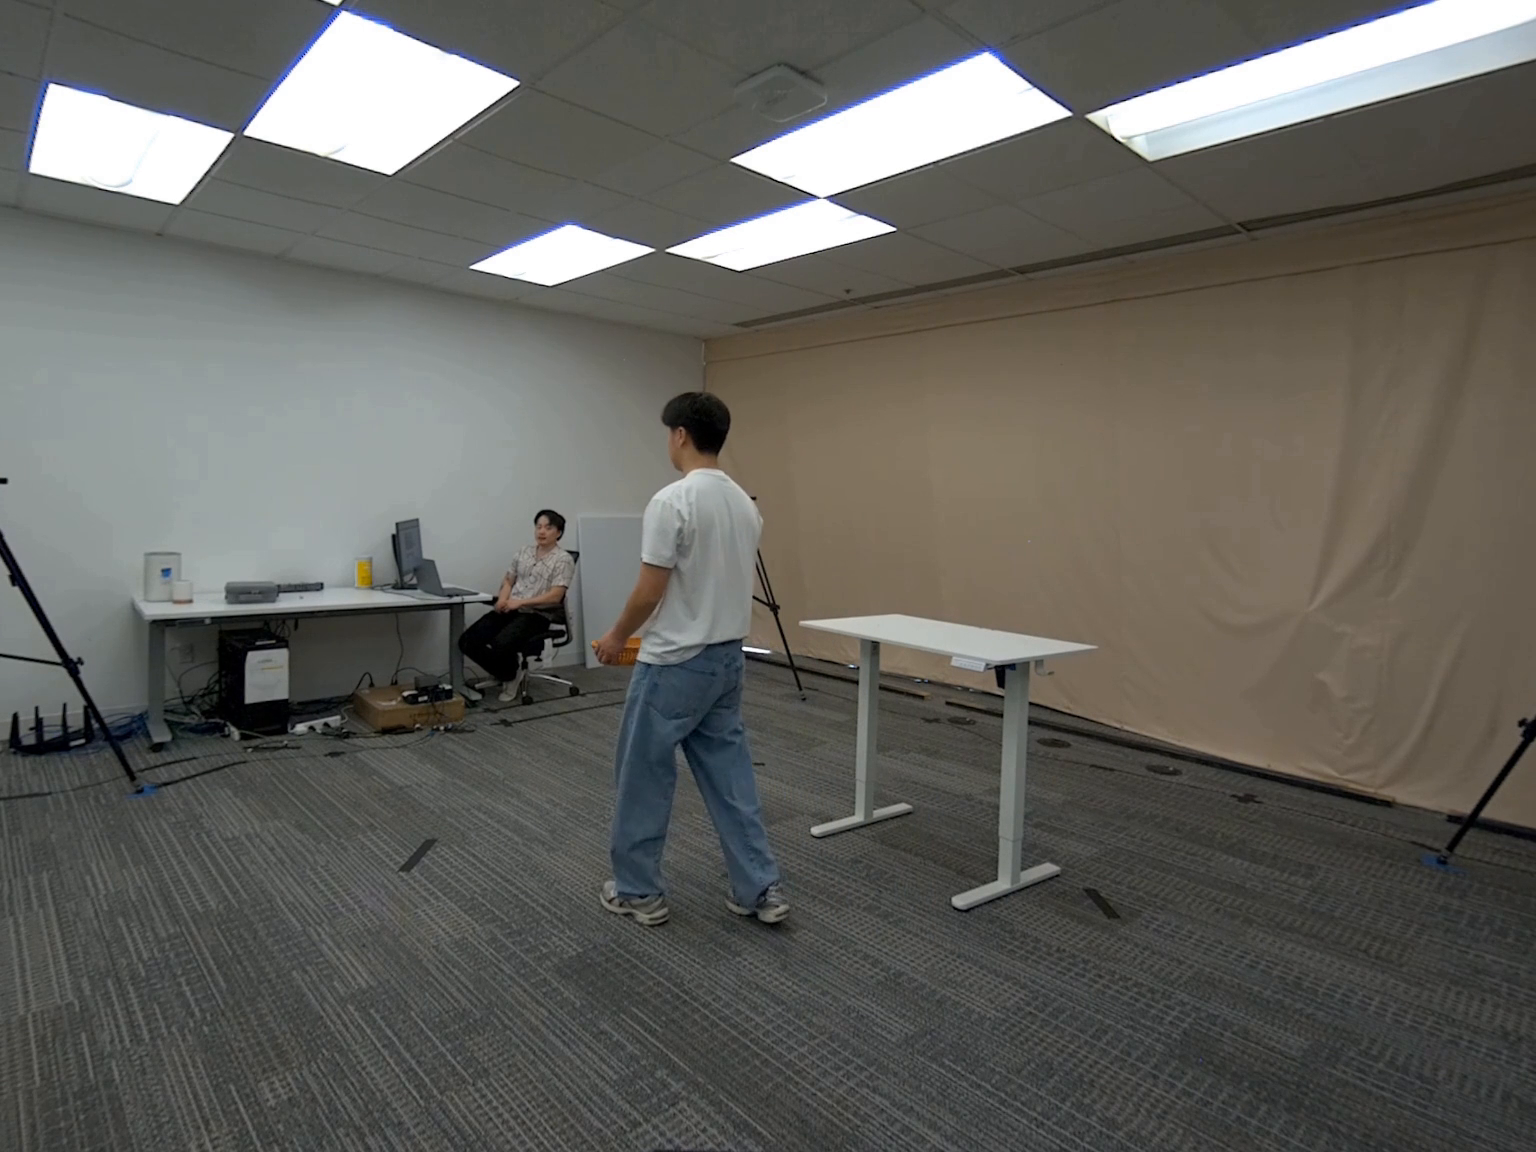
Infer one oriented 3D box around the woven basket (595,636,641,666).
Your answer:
[{"bbox_3d":[-0.443,0.265,2.972,0.342,0.073,0.258,-1,3,-44],"label":"woven basket"}]
